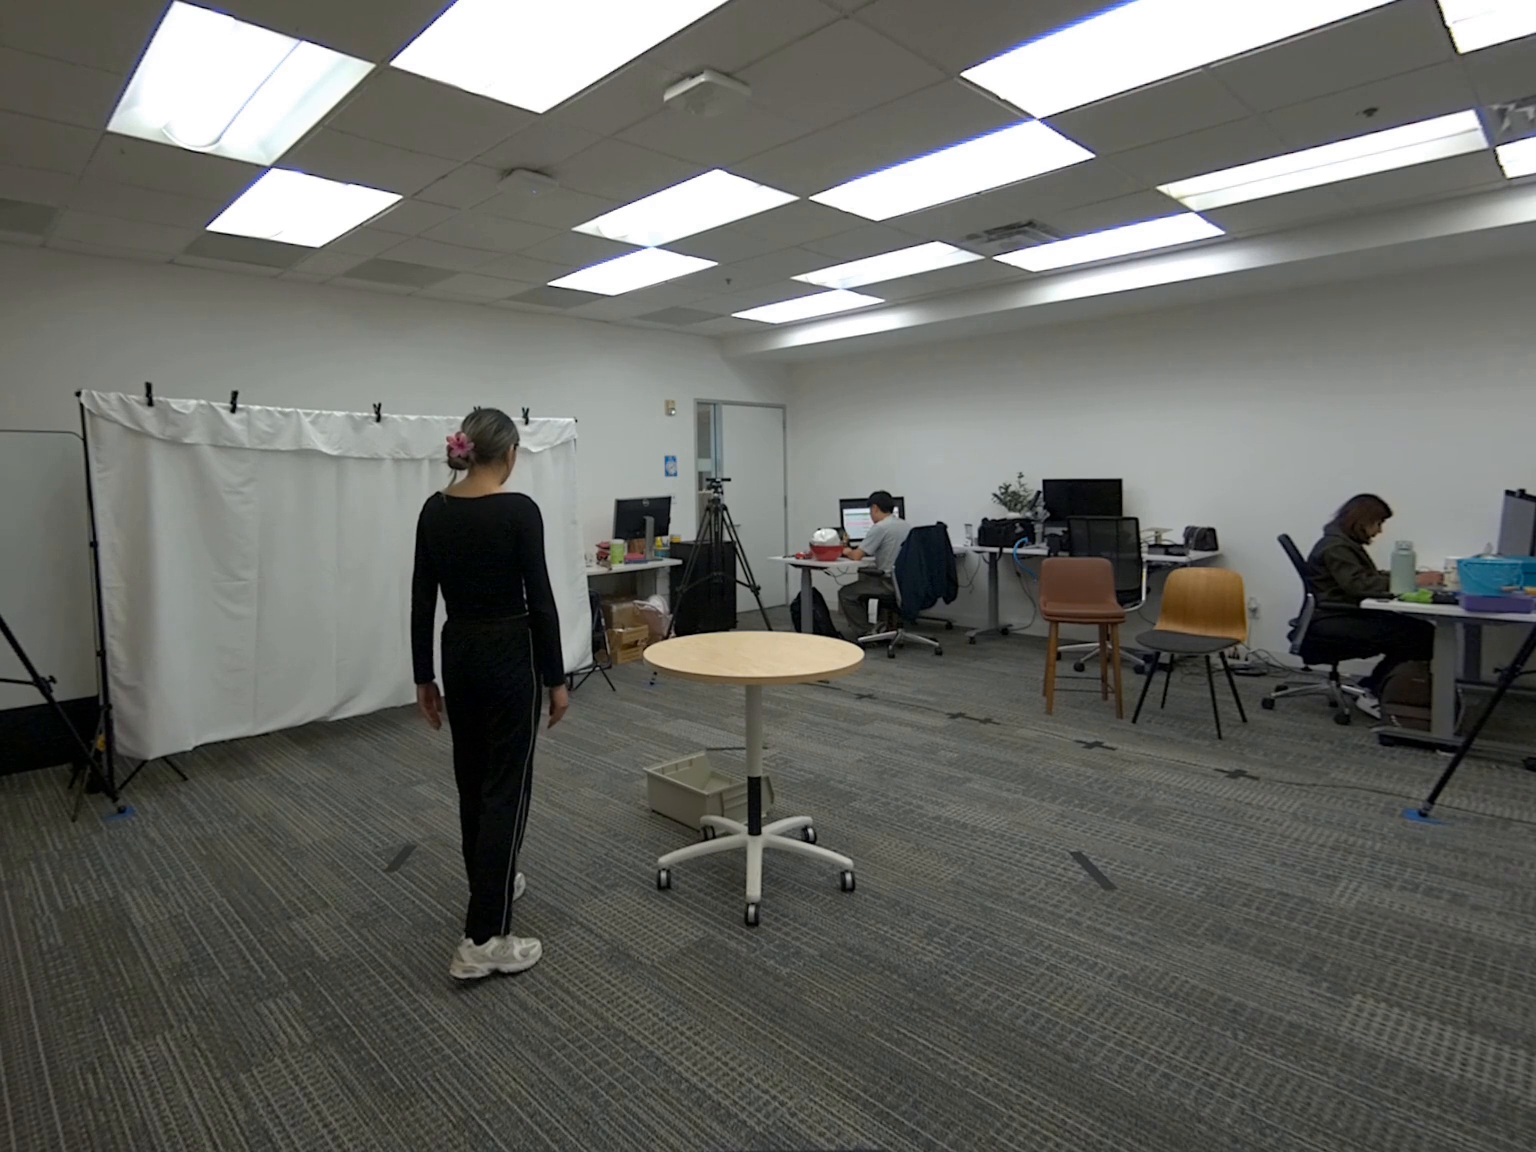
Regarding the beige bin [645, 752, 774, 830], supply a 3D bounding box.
[{"bbox_3d":[-0.247,0.905,3.590,0.368,0.188,0.435,-7,9,-43],"label":"beige bin"}]
